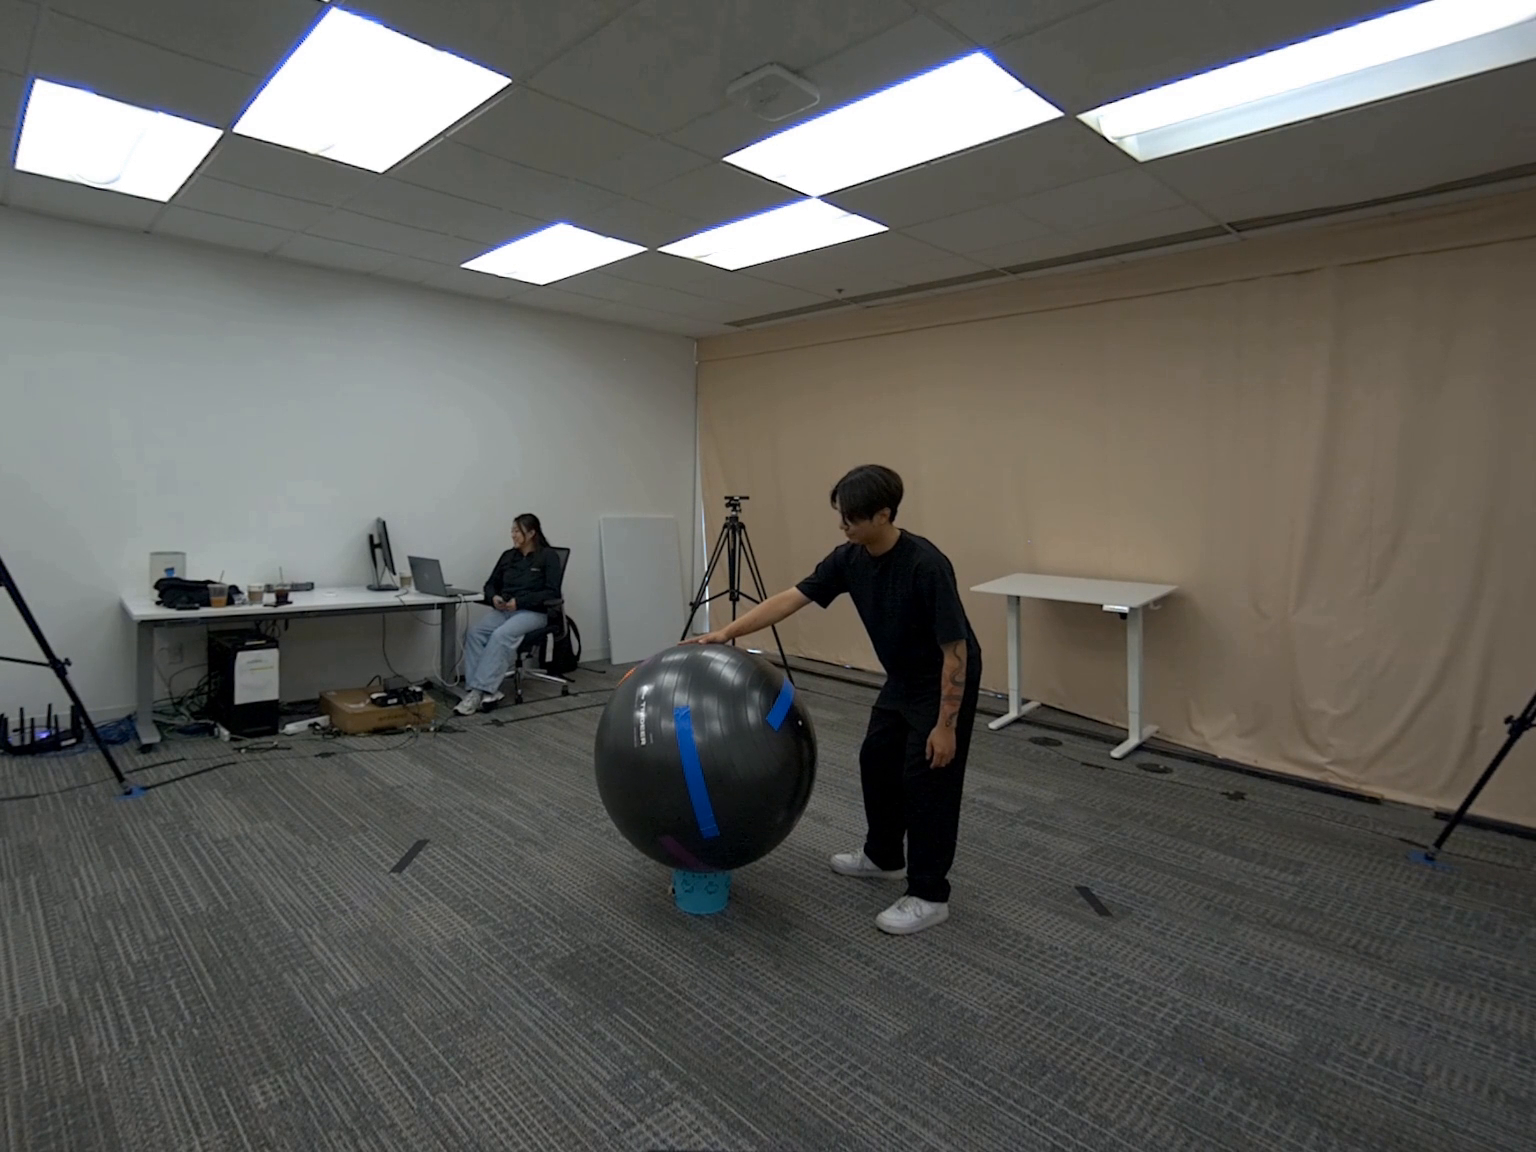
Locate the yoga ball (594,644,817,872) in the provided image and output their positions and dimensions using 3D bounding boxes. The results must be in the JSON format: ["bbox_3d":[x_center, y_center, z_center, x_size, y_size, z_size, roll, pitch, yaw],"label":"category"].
[{"bbox_3d":[-0.226,0.615,2.879,0.757,0.756,0.761,1,4,-1],"label":"yoga ball"}]
